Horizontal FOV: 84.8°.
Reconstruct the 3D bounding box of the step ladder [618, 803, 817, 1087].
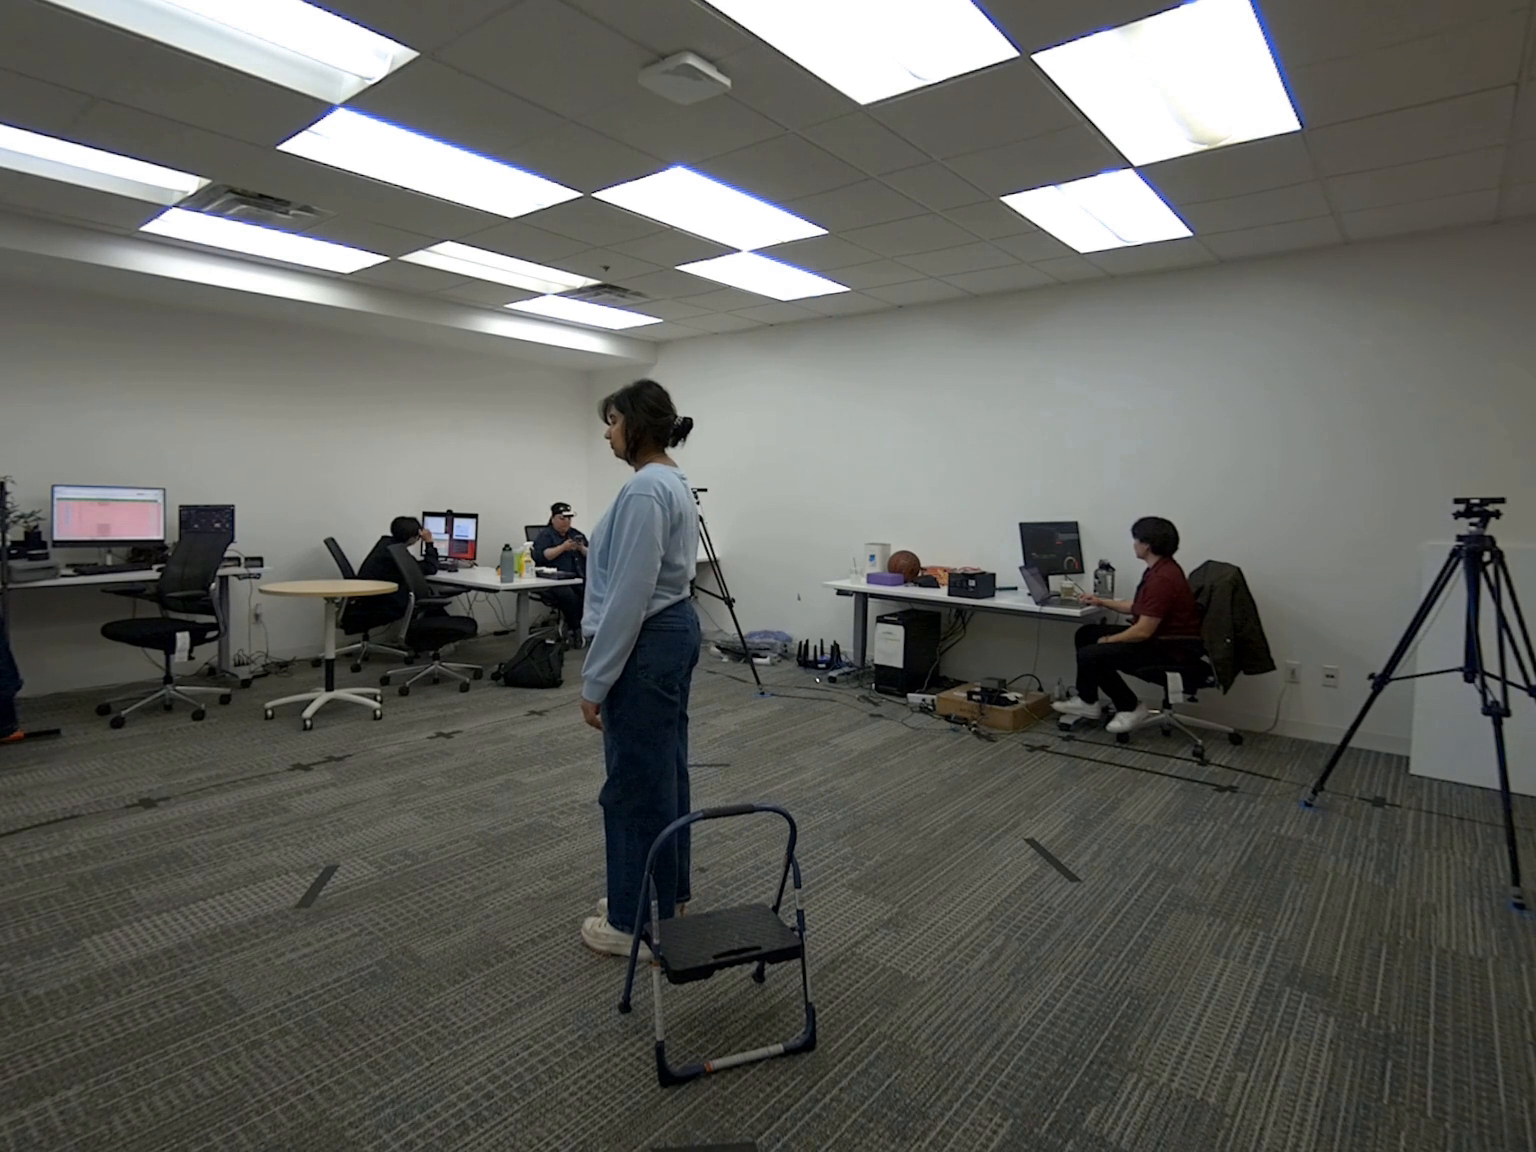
[{"bbox_3d":[-0.135,0.864,2.188,0.421,0.604,0.358,-1,4,-24],"label":"step ladder"}]
